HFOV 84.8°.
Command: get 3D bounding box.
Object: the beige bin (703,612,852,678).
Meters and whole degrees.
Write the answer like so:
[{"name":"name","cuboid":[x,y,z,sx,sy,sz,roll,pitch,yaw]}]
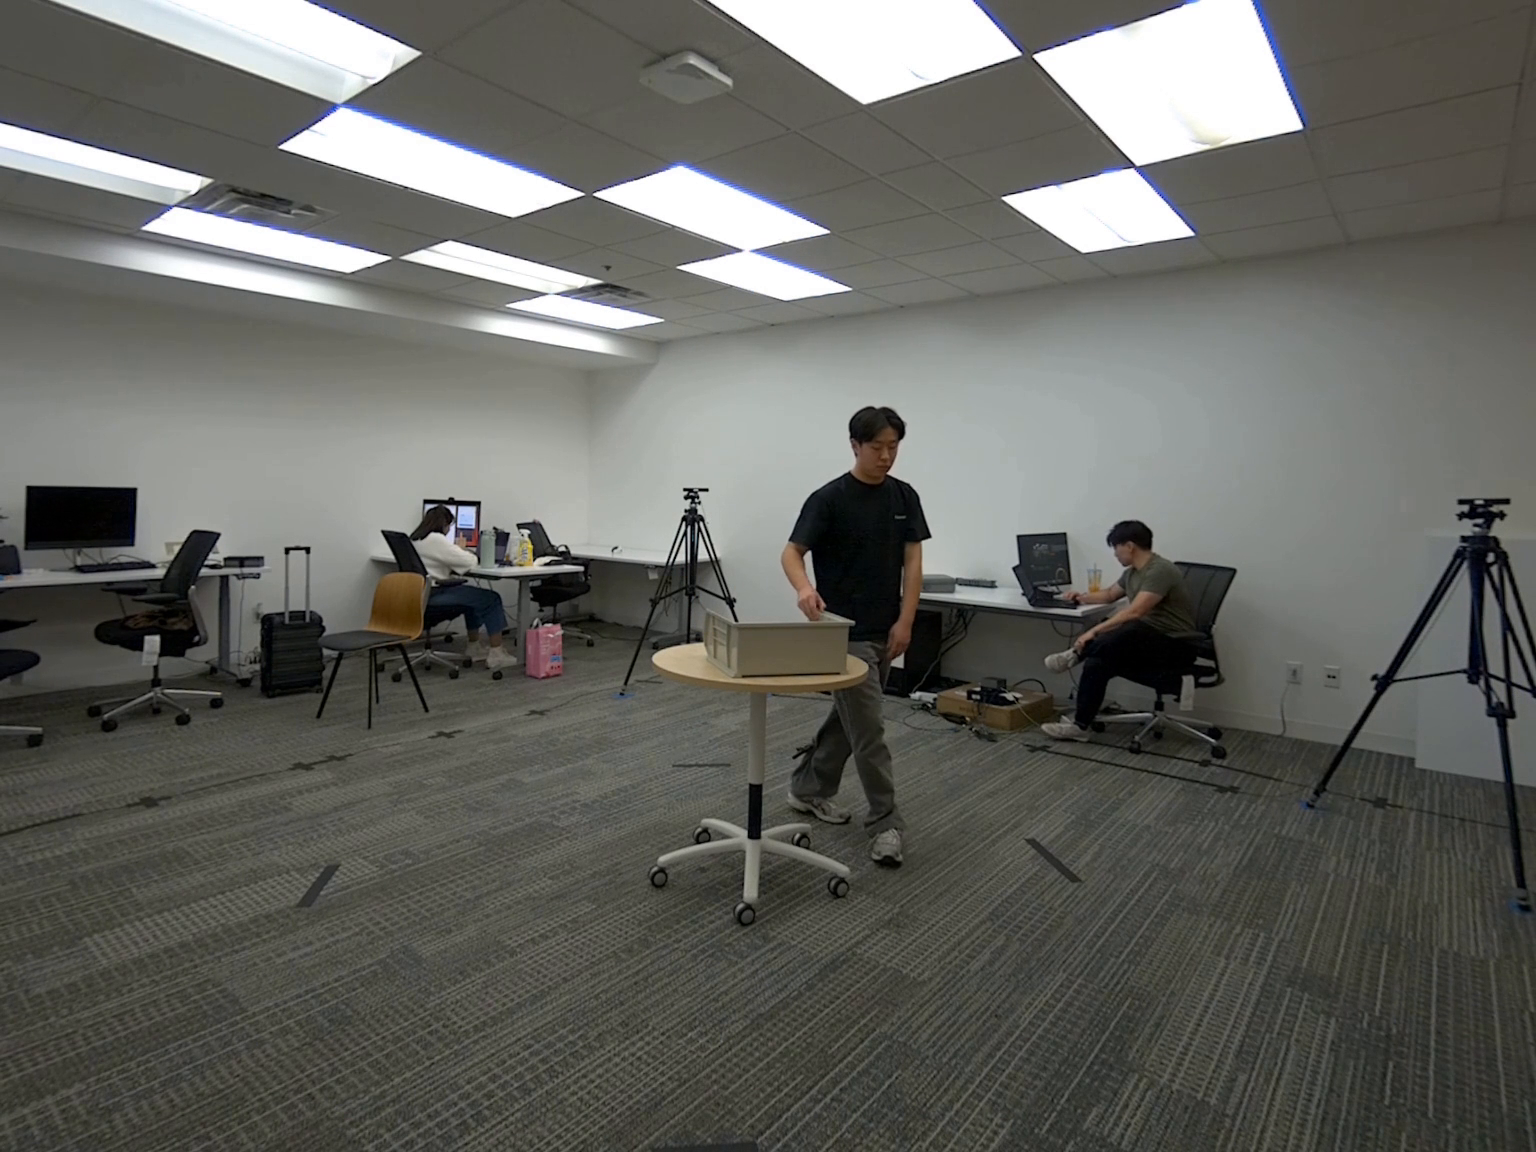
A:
[{"name":"beige bin","cuboid":[0.009,0.217,2.942,0.415,0.188,0.386,0,6,-18]}]
